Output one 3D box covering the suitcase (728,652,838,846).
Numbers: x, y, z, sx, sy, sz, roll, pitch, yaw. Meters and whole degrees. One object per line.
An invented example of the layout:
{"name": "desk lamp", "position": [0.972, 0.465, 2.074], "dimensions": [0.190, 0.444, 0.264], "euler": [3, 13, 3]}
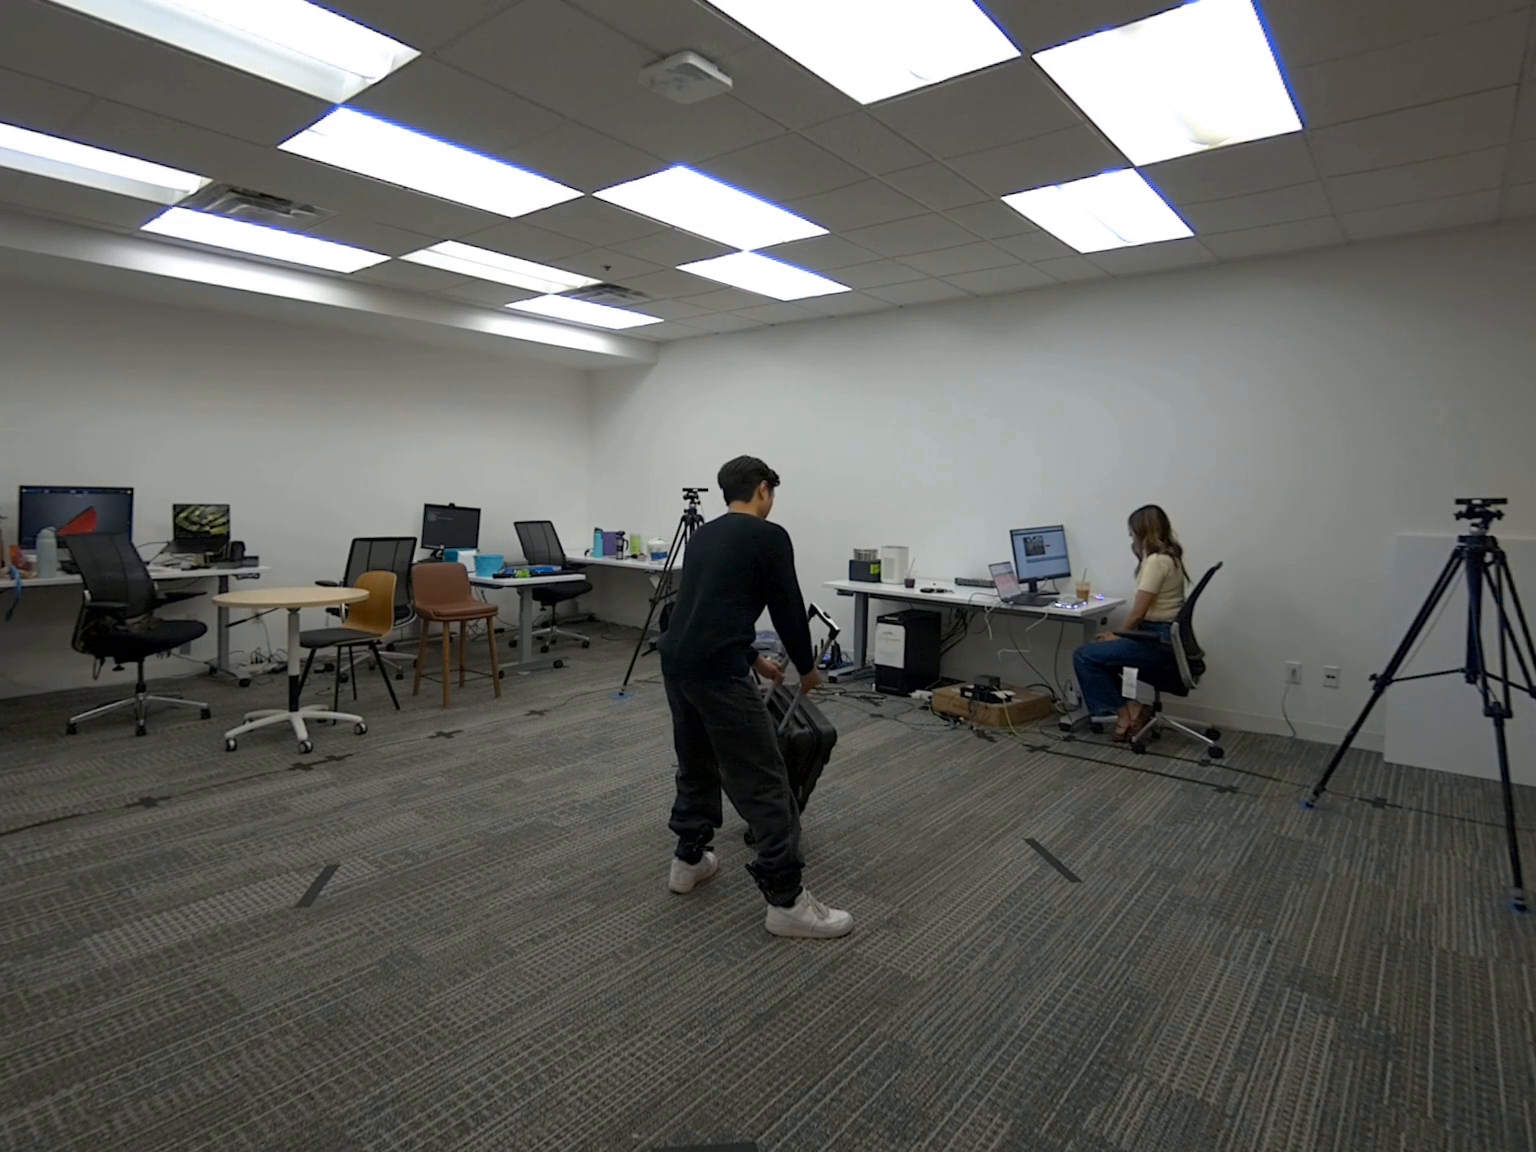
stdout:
{"name": "suitcase", "position": [0.094, 0.545, 3.306], "dimensions": [0.249, 0.969, 0.401], "euler": [4, 30, -39]}
